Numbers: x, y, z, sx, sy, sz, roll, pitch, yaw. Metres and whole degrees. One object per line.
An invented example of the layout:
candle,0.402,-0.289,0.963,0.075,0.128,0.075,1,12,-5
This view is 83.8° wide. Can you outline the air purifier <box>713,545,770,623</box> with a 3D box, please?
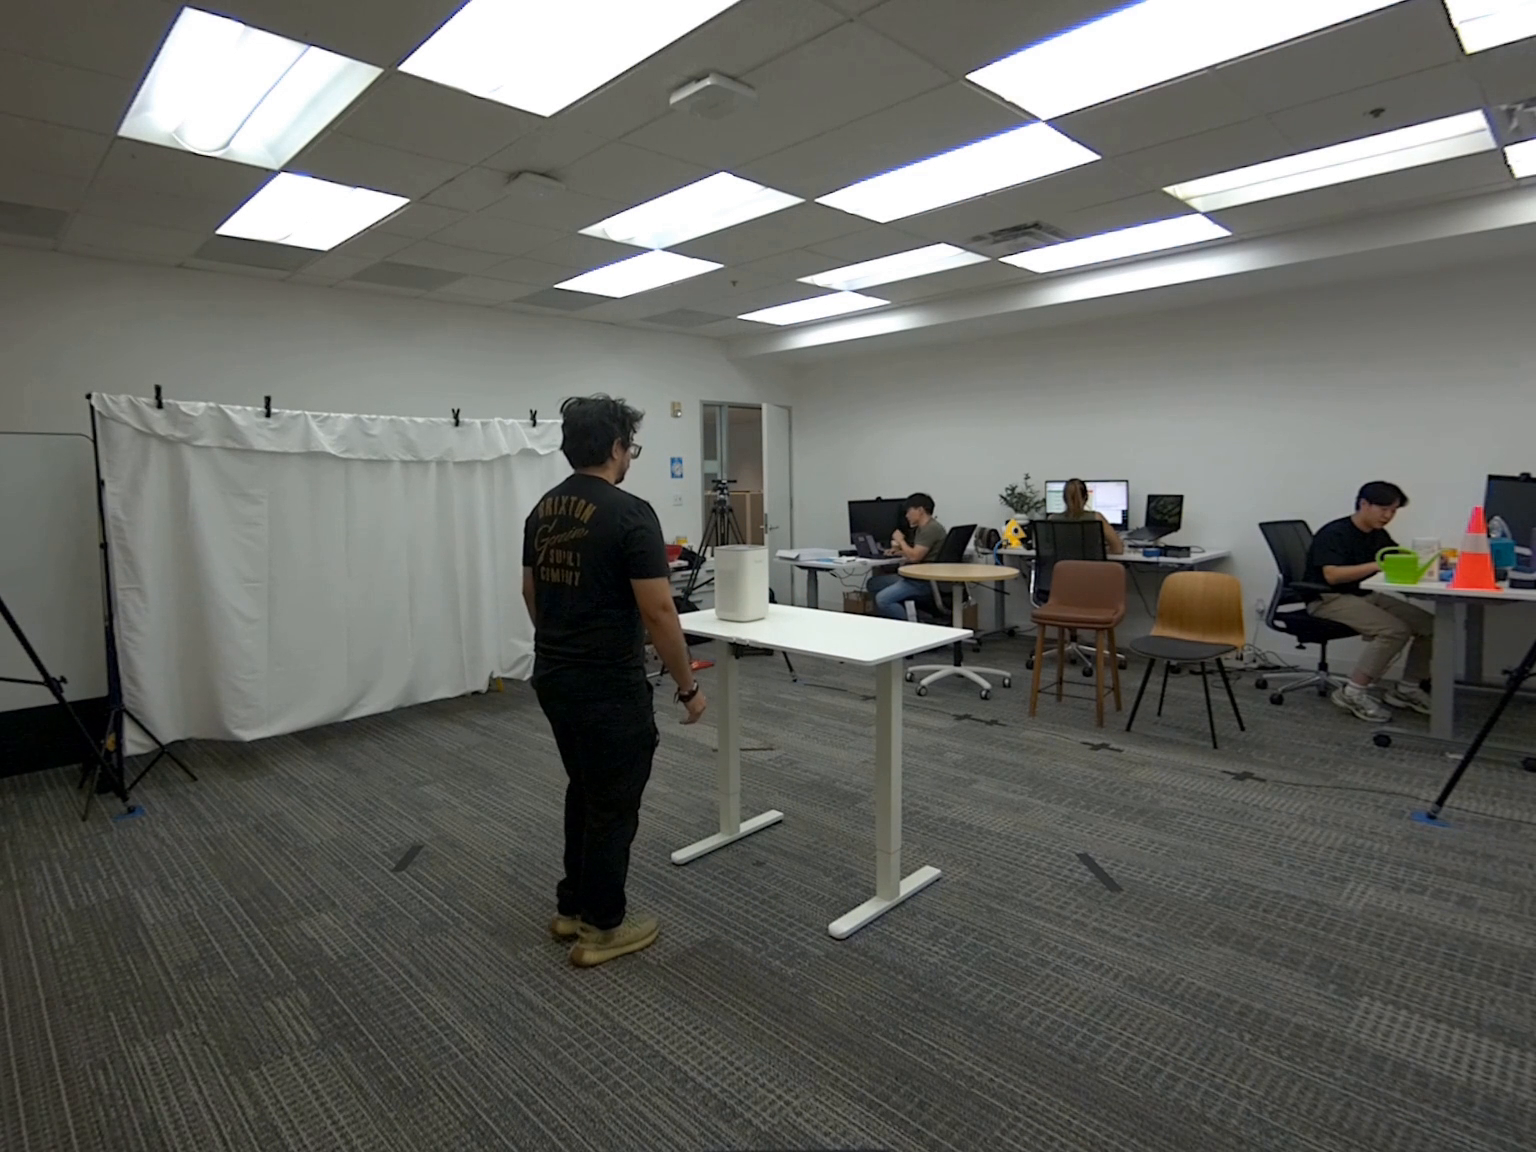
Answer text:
air purifier,-0.098,0.025,3.146,0.177,0.264,0.167,3,7,39
